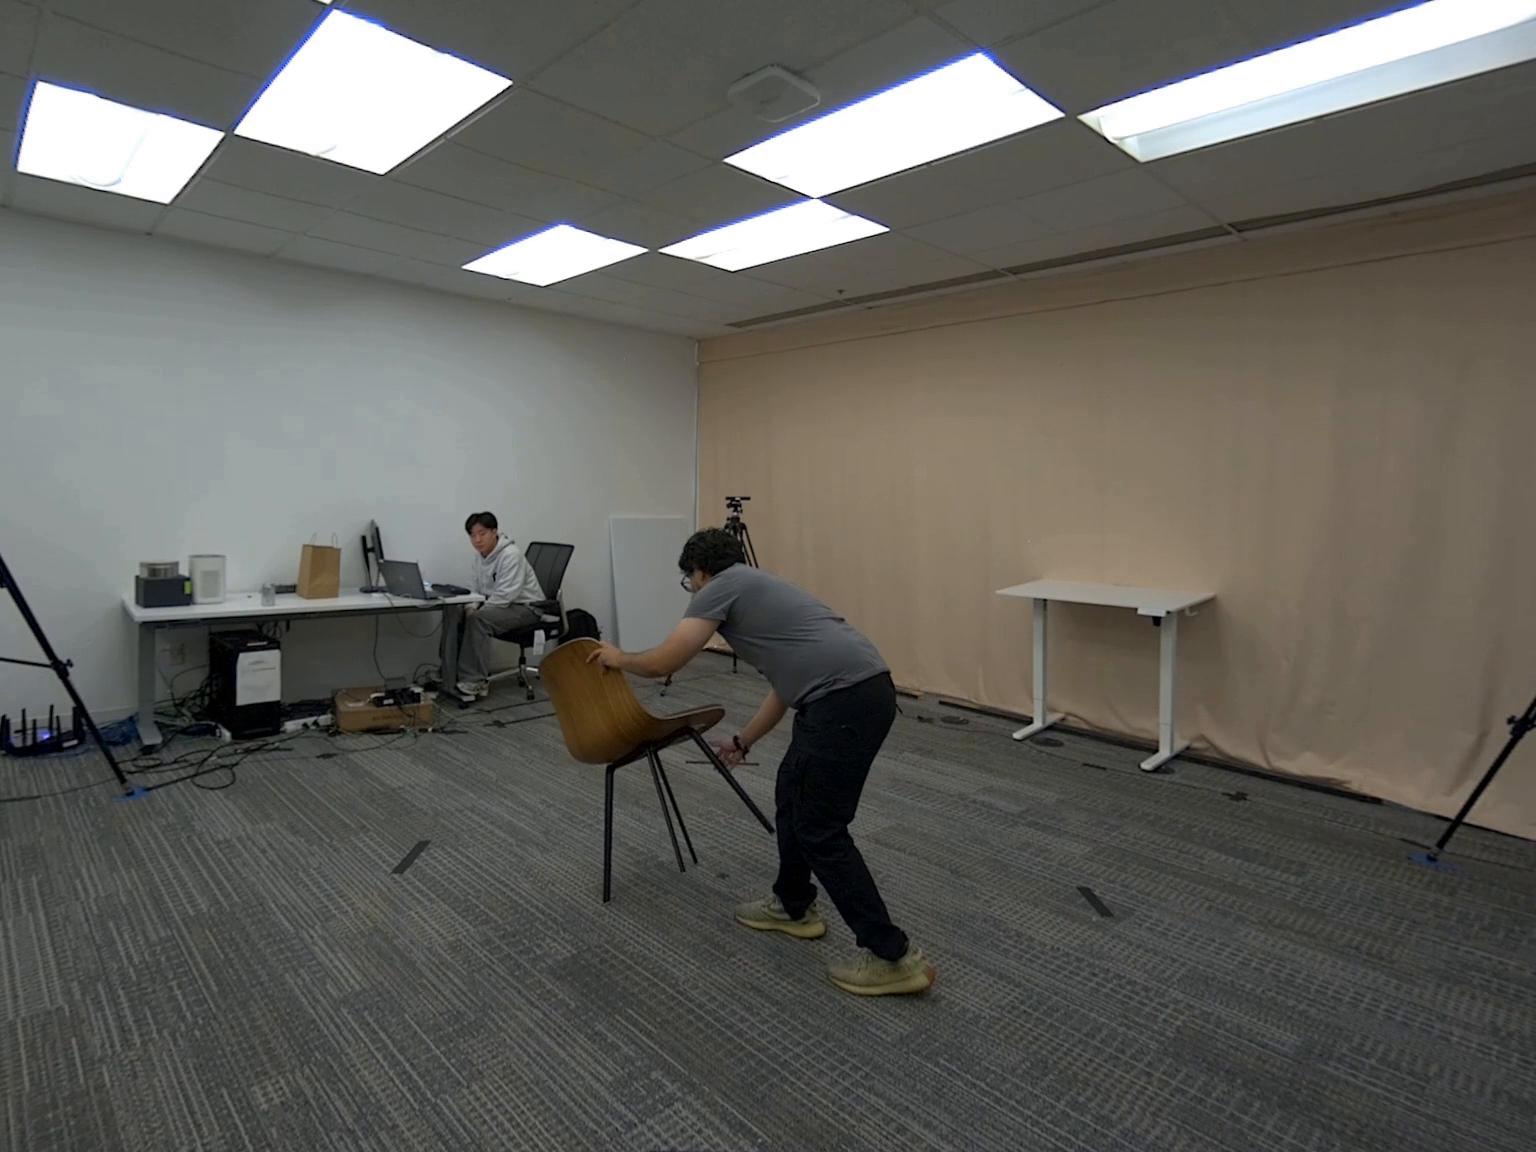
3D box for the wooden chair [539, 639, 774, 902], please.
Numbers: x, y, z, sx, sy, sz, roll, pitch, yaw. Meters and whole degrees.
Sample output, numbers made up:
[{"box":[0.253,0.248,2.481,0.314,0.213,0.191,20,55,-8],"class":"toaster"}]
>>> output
[{"box":[-0.423,0.629,3.030,0.481,0.890,0.513,-36,-17,37],"class":"wooden chair"}]
